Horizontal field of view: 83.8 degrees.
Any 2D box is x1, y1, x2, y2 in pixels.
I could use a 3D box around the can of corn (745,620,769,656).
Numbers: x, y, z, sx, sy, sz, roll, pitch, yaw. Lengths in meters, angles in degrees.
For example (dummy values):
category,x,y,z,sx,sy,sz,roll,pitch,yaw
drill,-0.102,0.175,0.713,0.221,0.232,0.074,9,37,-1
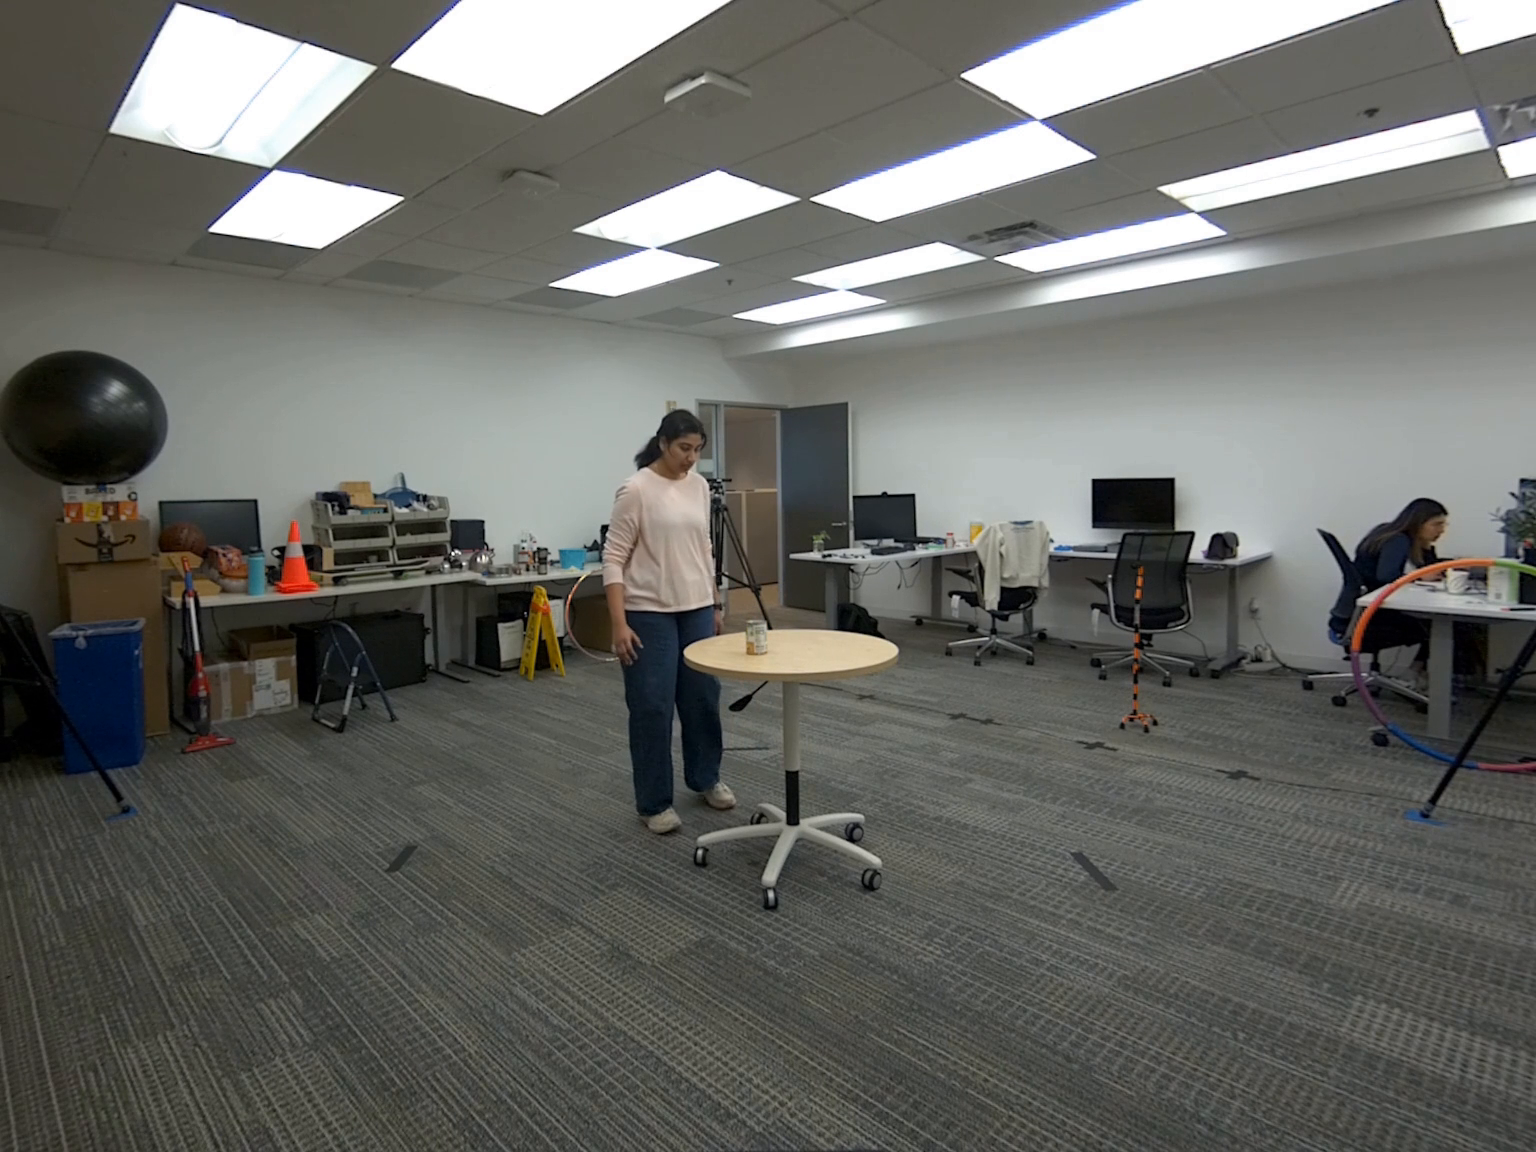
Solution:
category,x,y,z,sx,sy,sz,roll,pitch,yaw
can of corn,-0.038,0.219,3.001,0.074,0.110,0.075,0,6,-2
